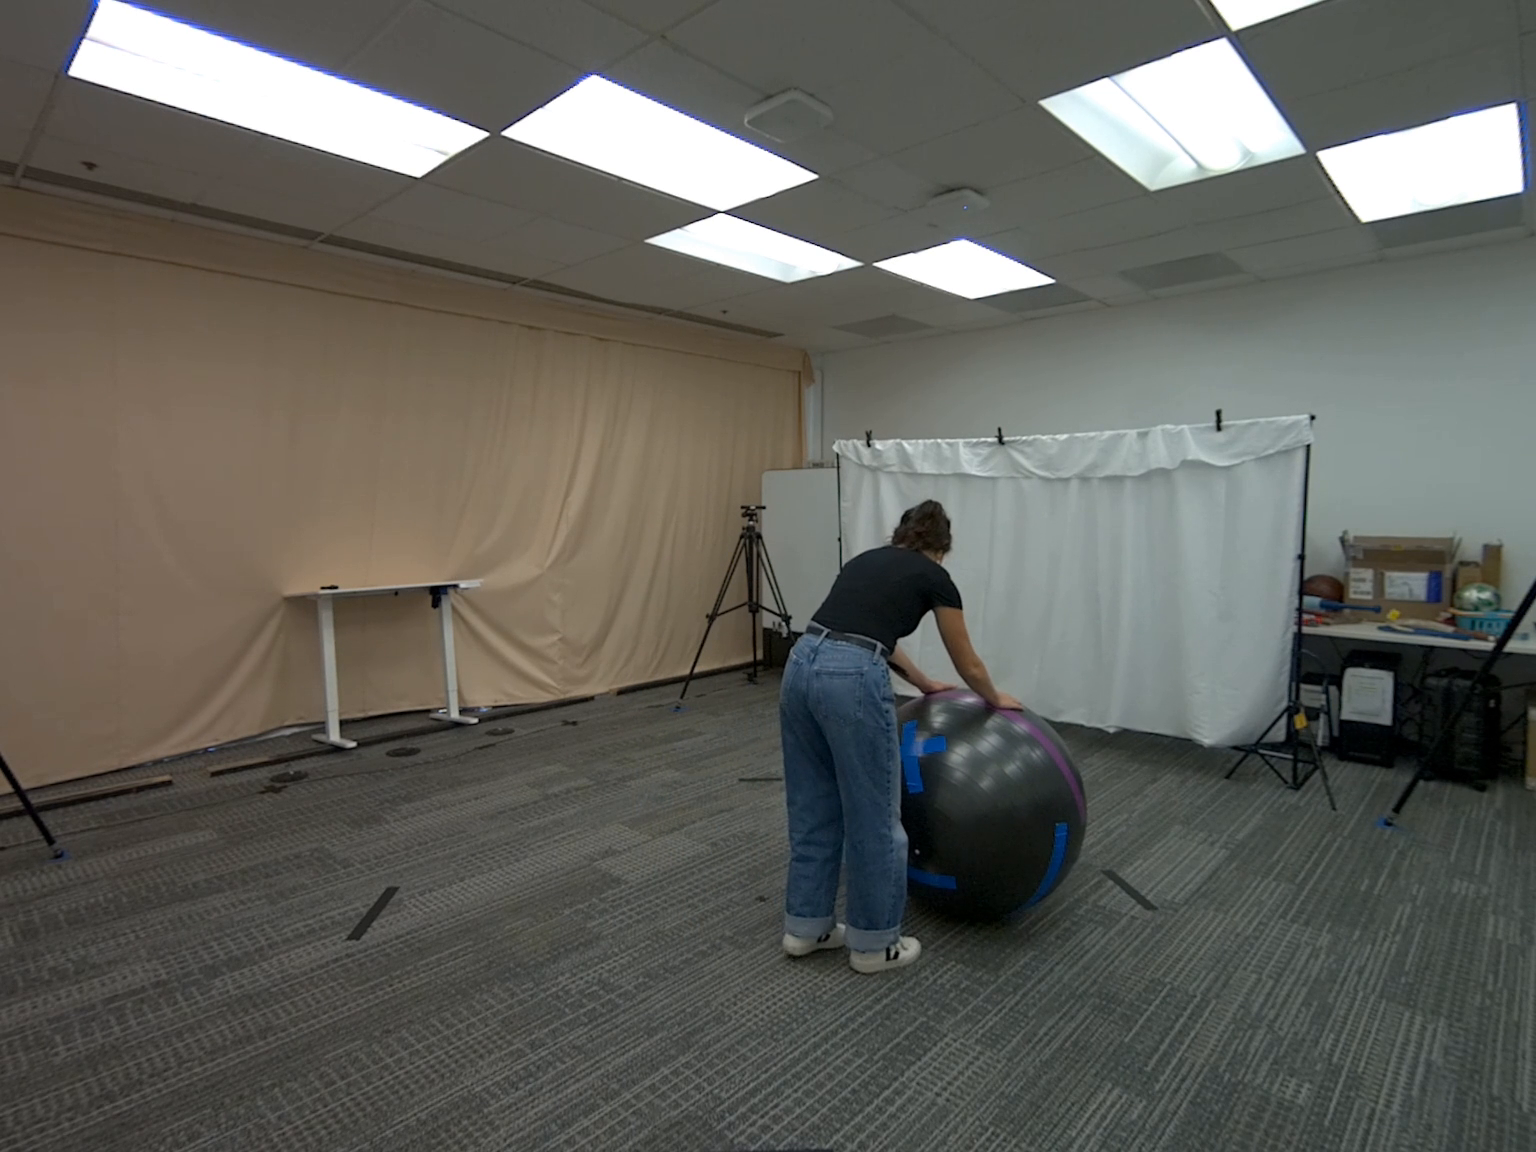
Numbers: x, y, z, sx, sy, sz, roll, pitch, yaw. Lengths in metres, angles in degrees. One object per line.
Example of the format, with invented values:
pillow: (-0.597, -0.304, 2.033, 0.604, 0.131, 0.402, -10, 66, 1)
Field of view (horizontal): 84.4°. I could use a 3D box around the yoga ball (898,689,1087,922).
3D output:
yoga ball: (0.699, 0.779, 2.914, 0.757, 0.756, 0.760, 0, 4, -2)
